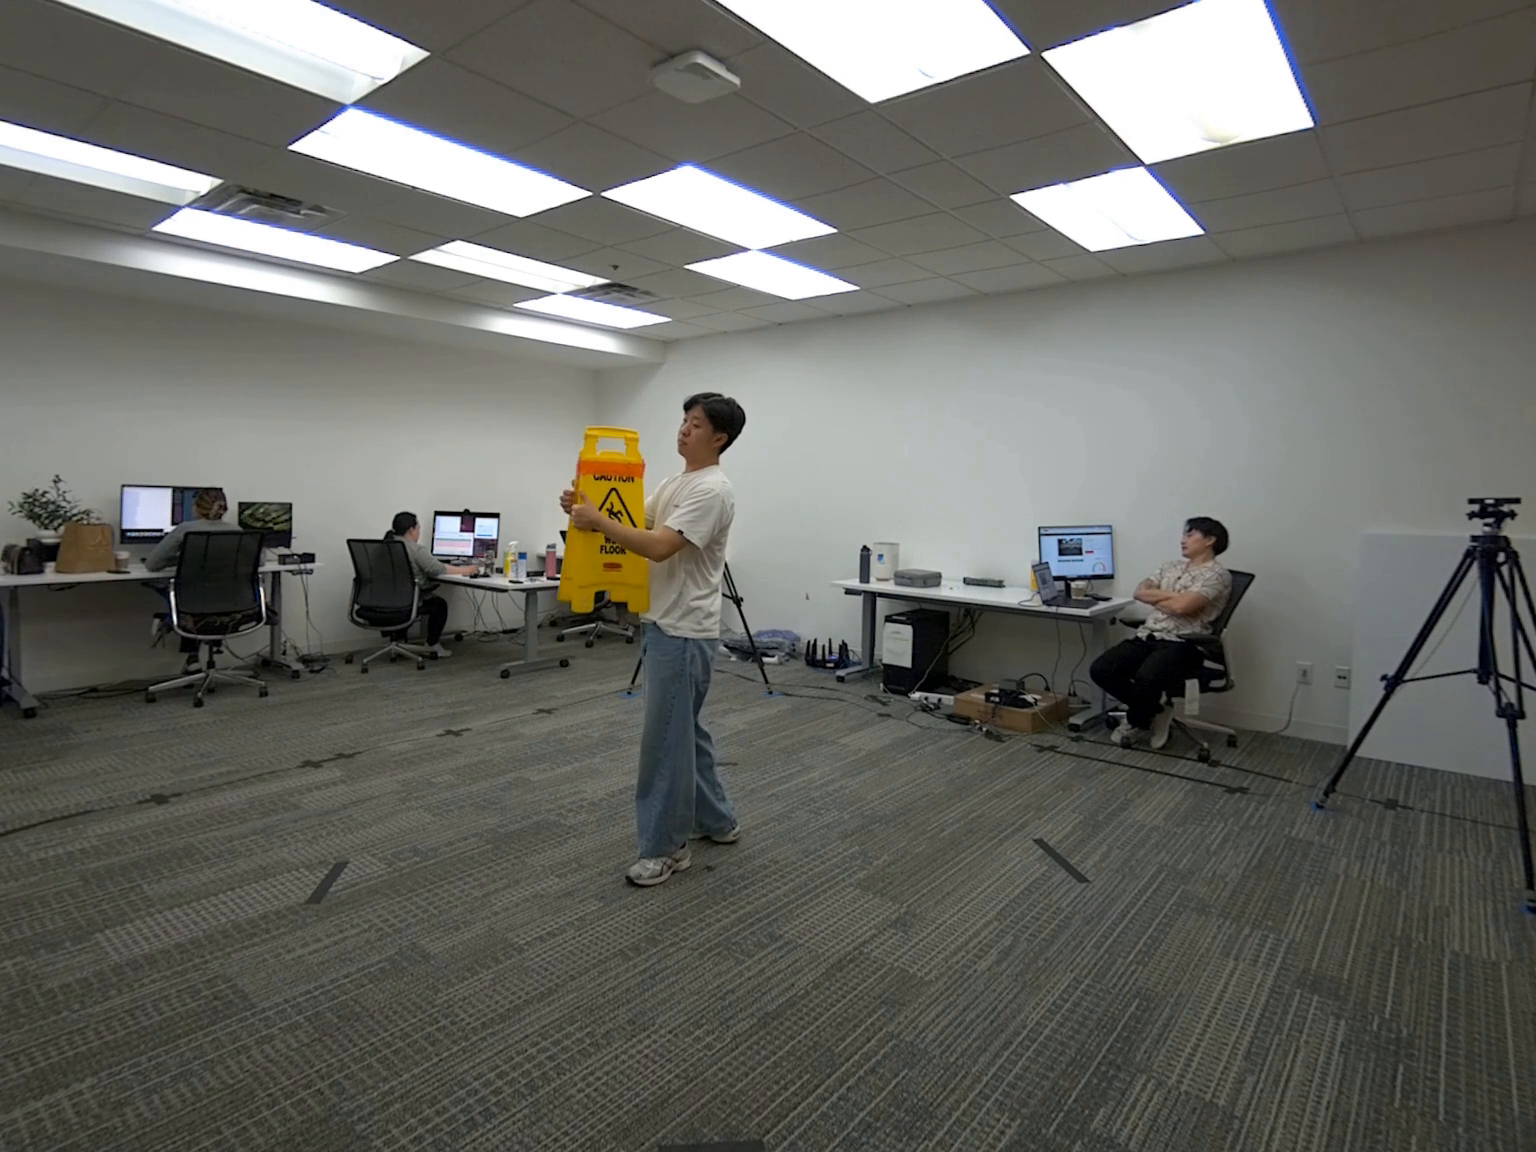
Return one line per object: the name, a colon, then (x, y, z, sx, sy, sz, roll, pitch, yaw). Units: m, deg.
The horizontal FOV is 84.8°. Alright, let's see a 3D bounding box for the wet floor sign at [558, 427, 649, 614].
wet floor sign: (-0.604, -0.213, 3.088, 0.276, 0.644, 0.297, 2, 4, -23)
